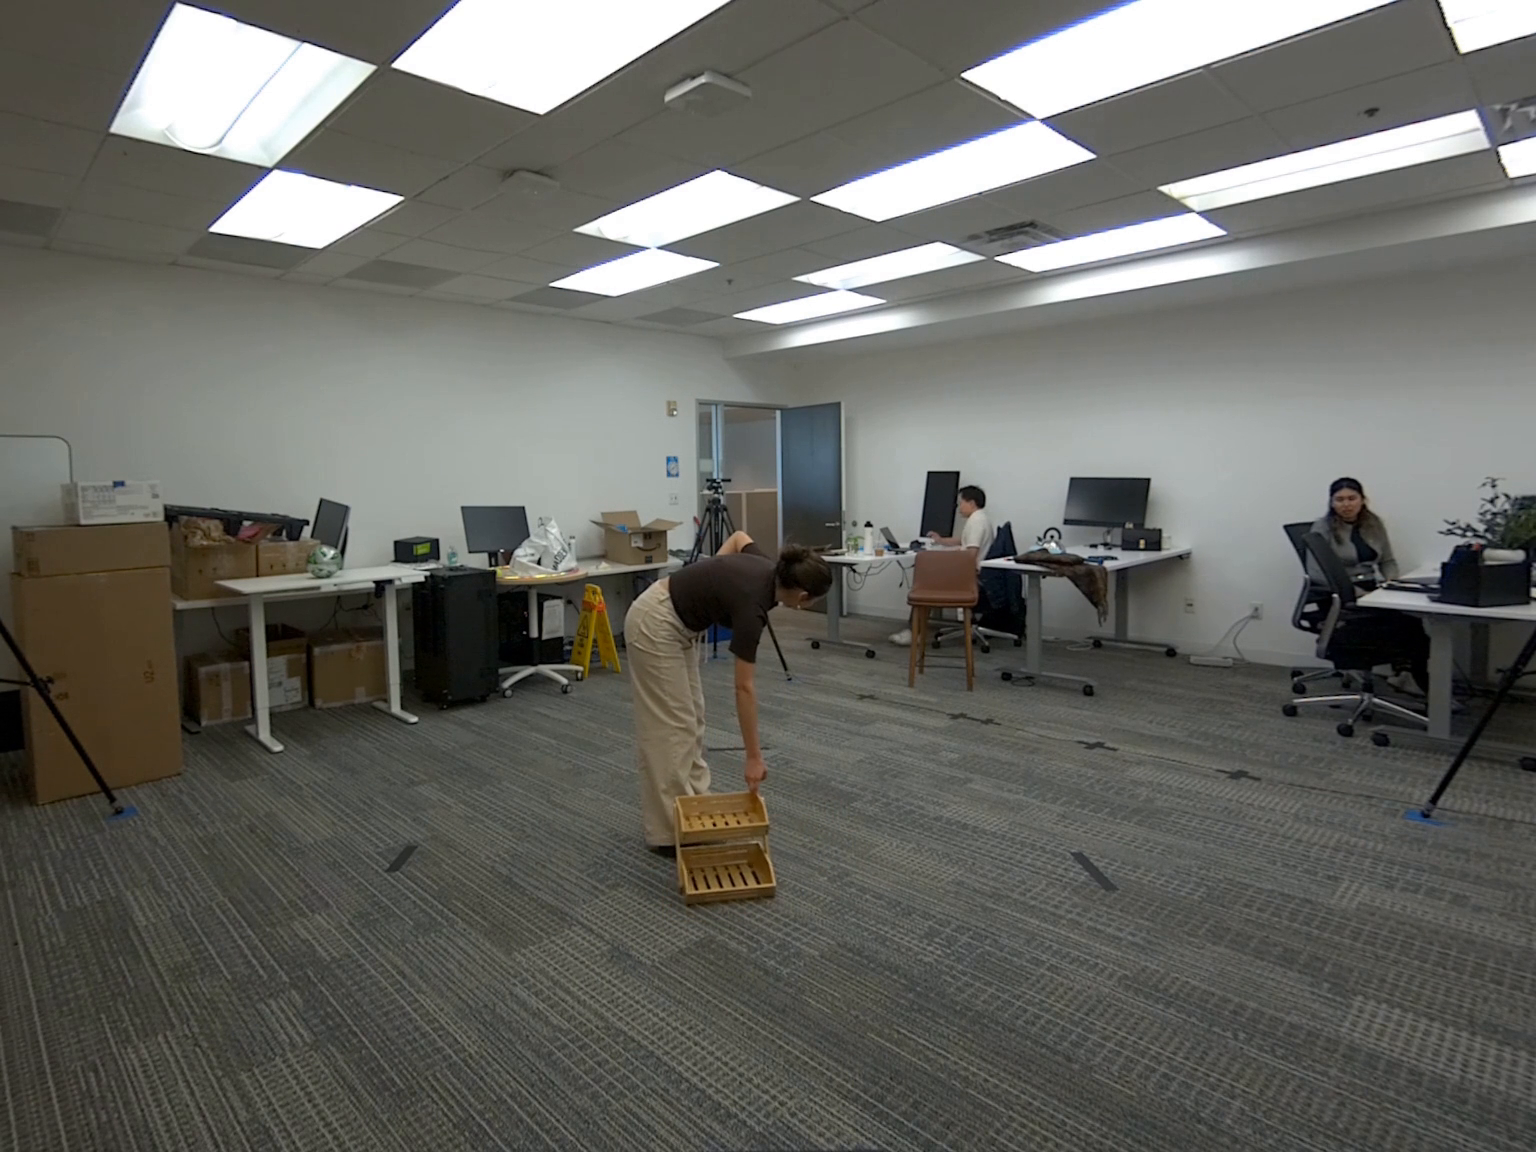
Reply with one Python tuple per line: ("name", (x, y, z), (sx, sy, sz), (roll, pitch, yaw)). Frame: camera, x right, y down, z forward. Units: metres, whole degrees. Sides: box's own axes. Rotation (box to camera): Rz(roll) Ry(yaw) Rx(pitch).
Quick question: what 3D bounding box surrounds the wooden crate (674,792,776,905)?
("wooden crate", (-0.149, 0.933, 2.945), (0.321, 0.272, 0.306), (-2, 4, -12))
